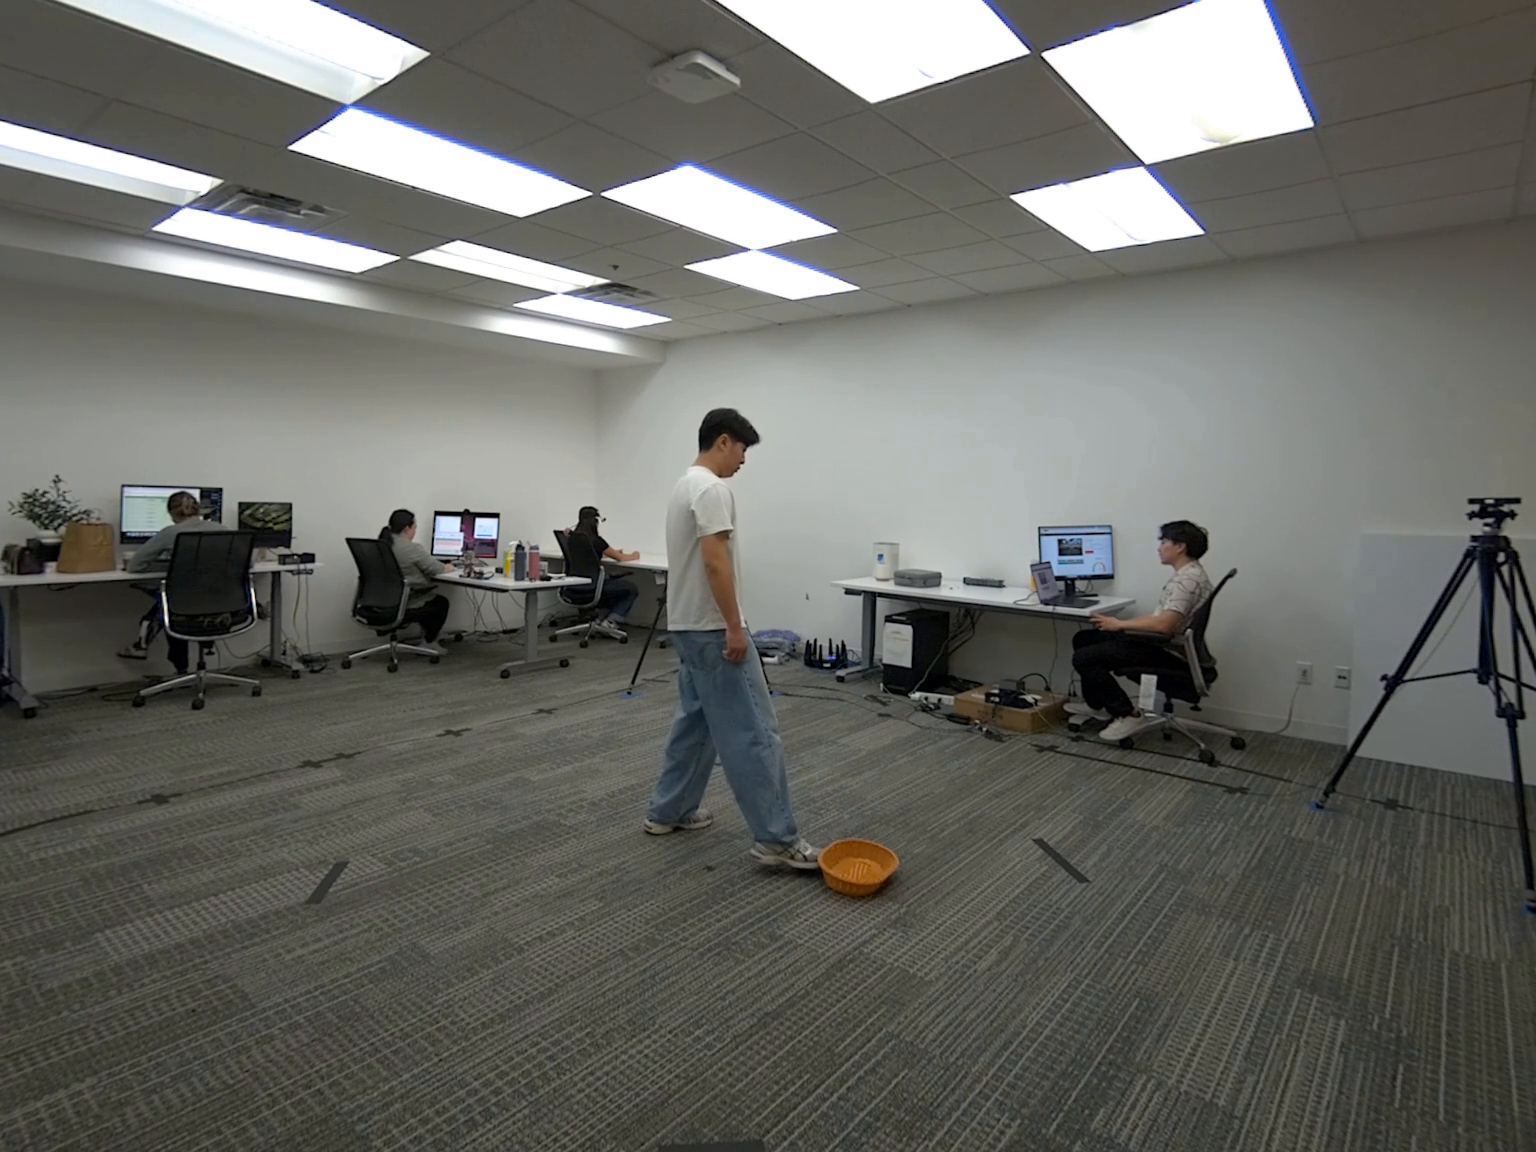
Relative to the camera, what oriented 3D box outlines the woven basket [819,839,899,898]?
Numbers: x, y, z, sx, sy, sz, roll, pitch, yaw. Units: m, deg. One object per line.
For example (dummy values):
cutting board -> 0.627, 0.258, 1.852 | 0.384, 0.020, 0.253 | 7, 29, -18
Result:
woven basket -> 0.307, 1.039, 3.041 | 0.261, 0.073, 0.341 | 11, 10, 33
